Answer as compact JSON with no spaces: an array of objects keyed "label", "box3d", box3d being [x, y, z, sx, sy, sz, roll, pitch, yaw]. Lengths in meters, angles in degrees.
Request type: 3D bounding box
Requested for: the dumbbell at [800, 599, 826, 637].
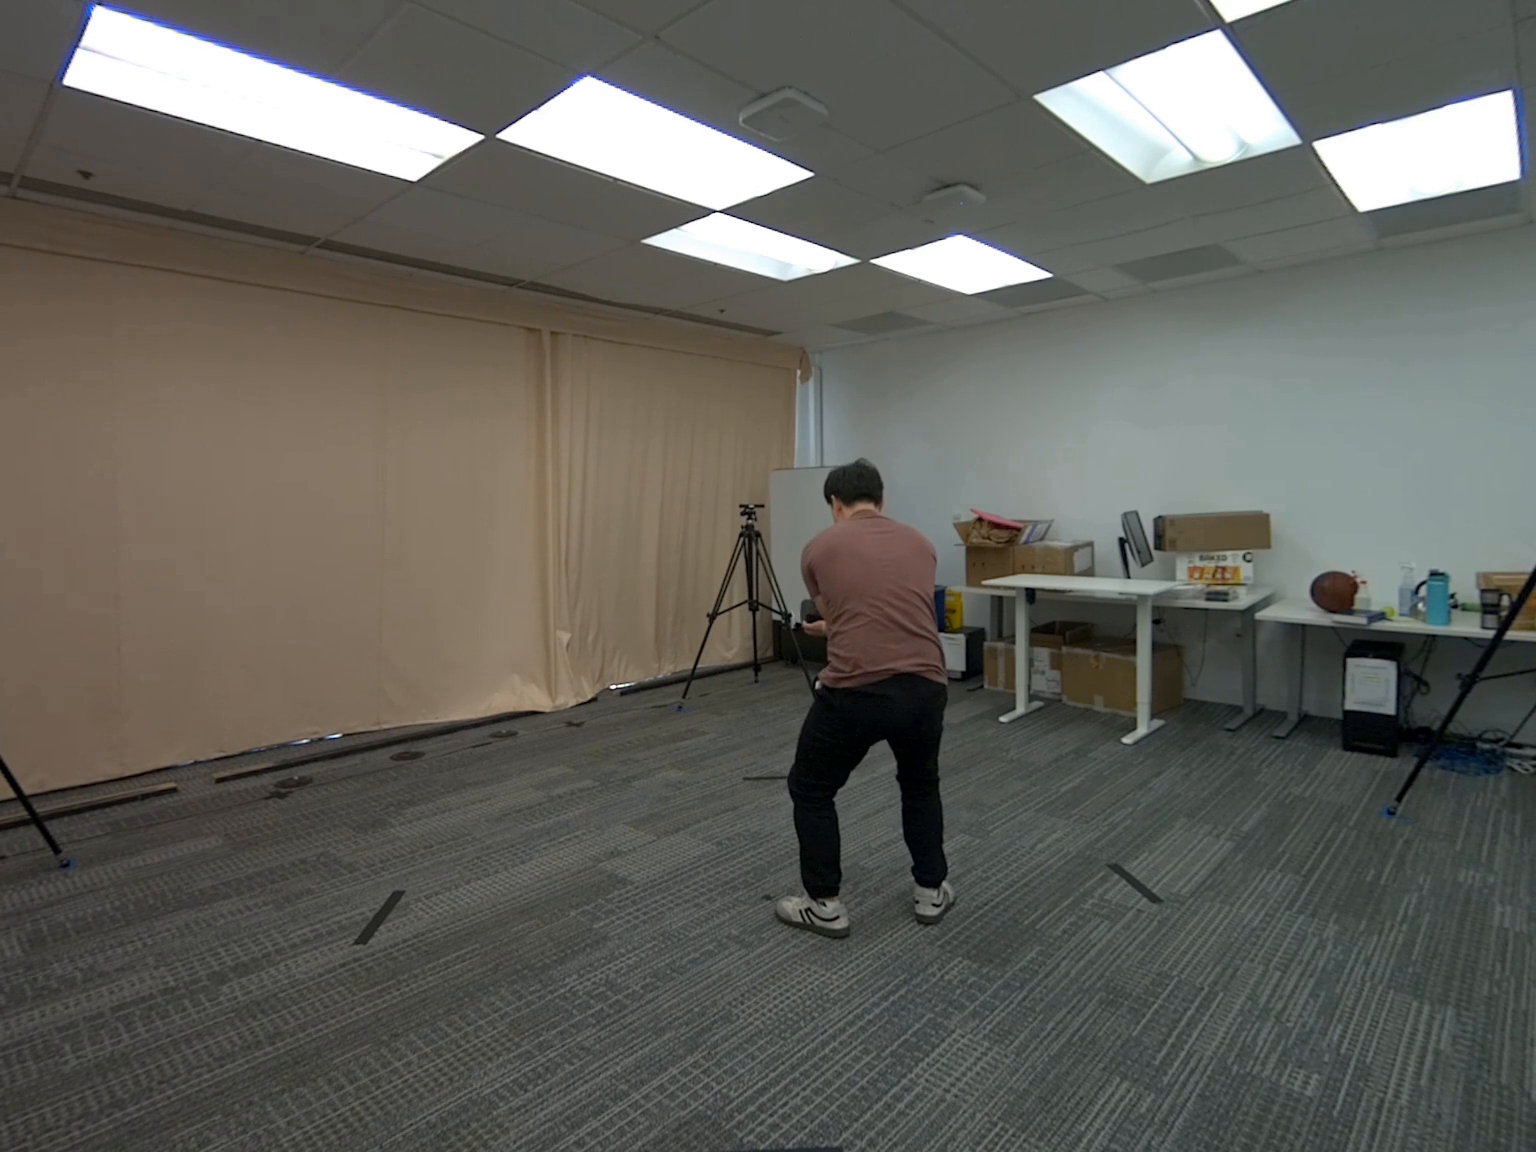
[{"label":"dumbbell","box3d":[0.280,0.152,3.139,0.291,0.109,0.123,-1,-2,-6]}]
